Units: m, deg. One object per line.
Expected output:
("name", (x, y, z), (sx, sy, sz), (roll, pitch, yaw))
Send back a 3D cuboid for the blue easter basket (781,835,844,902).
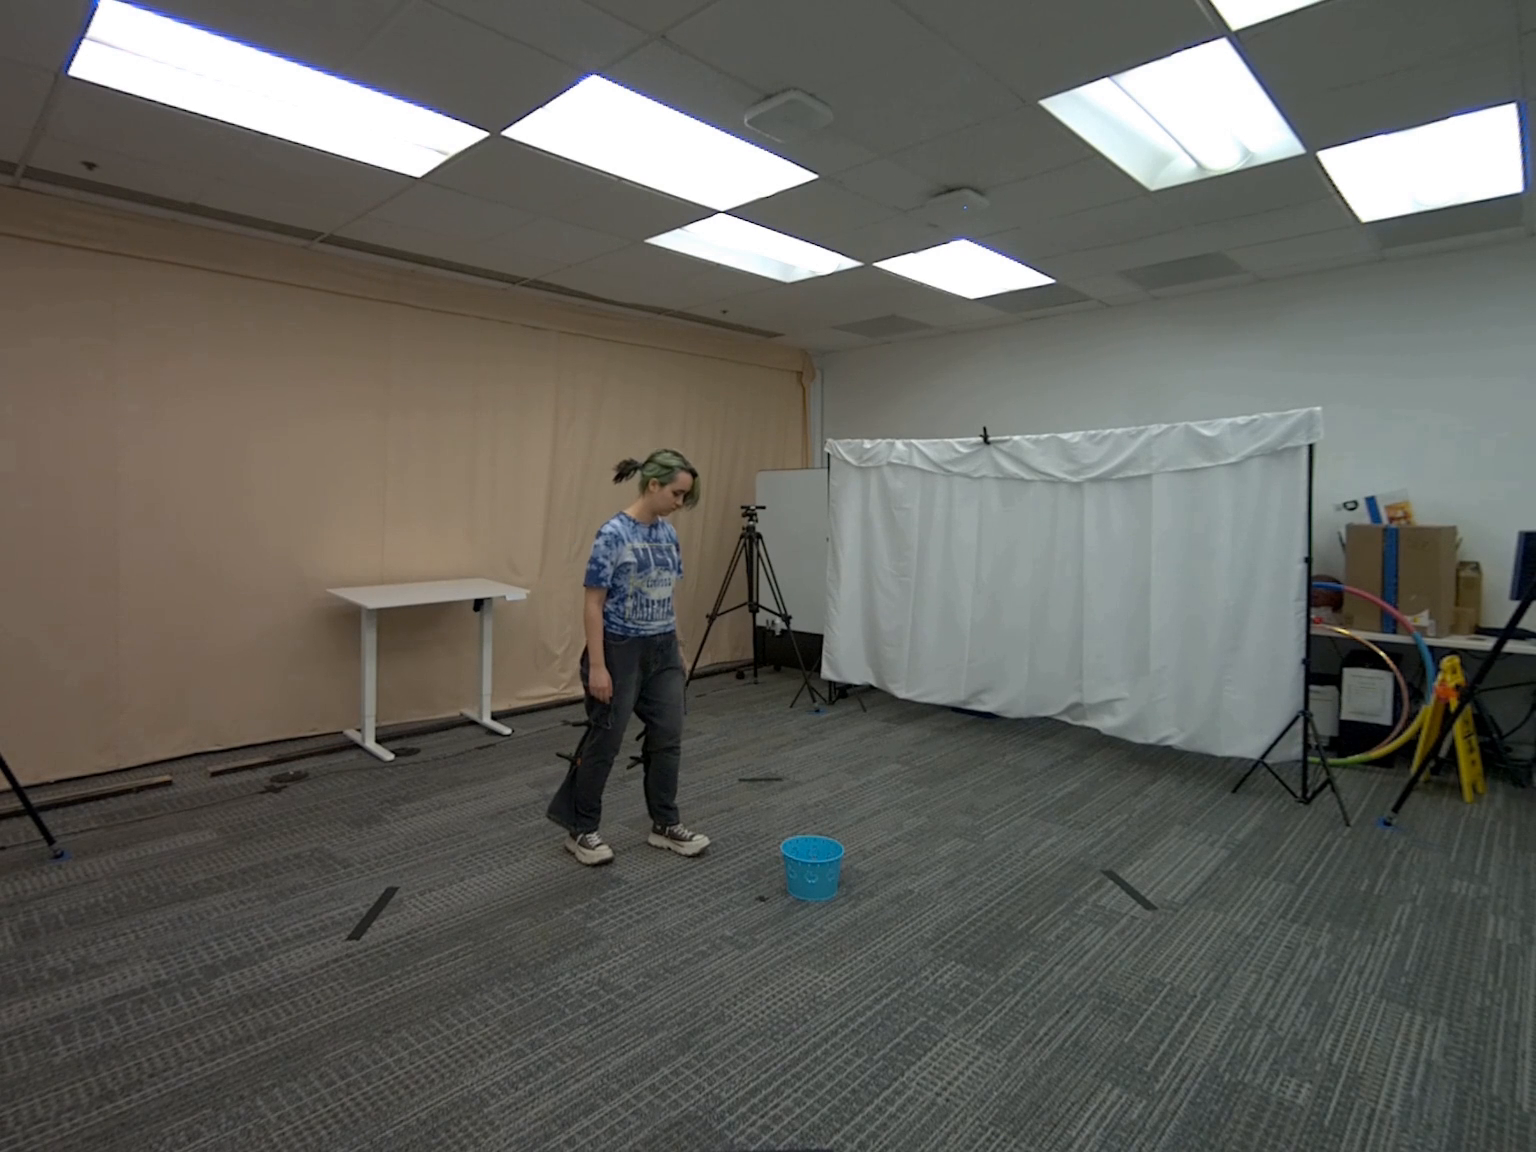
("blue easter basket", (0.167, 1.058, 3.055), (0.243, 0.155, 0.244), (0, 4, -2))
